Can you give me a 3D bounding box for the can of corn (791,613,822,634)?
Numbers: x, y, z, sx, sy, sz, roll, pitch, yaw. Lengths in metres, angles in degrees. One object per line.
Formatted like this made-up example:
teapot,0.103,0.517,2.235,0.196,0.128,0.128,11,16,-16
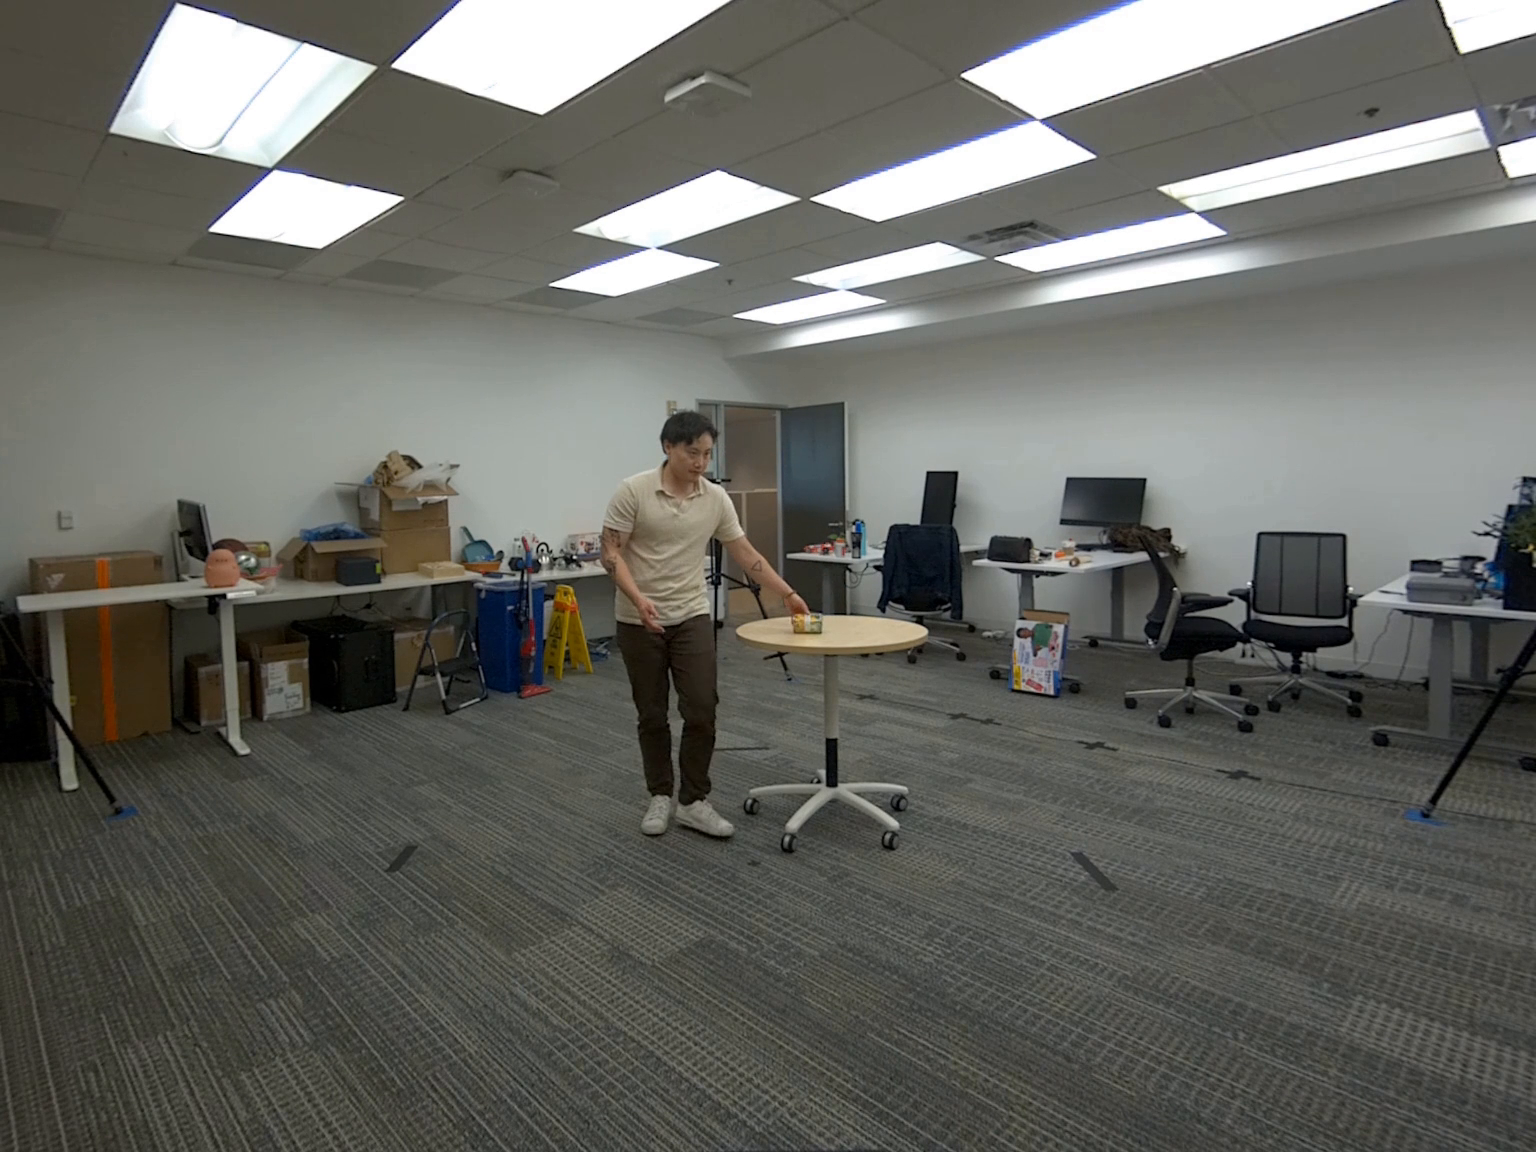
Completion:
can of corn,0.161,0.188,3.377,0.111,0.074,0.074,1,5,2
